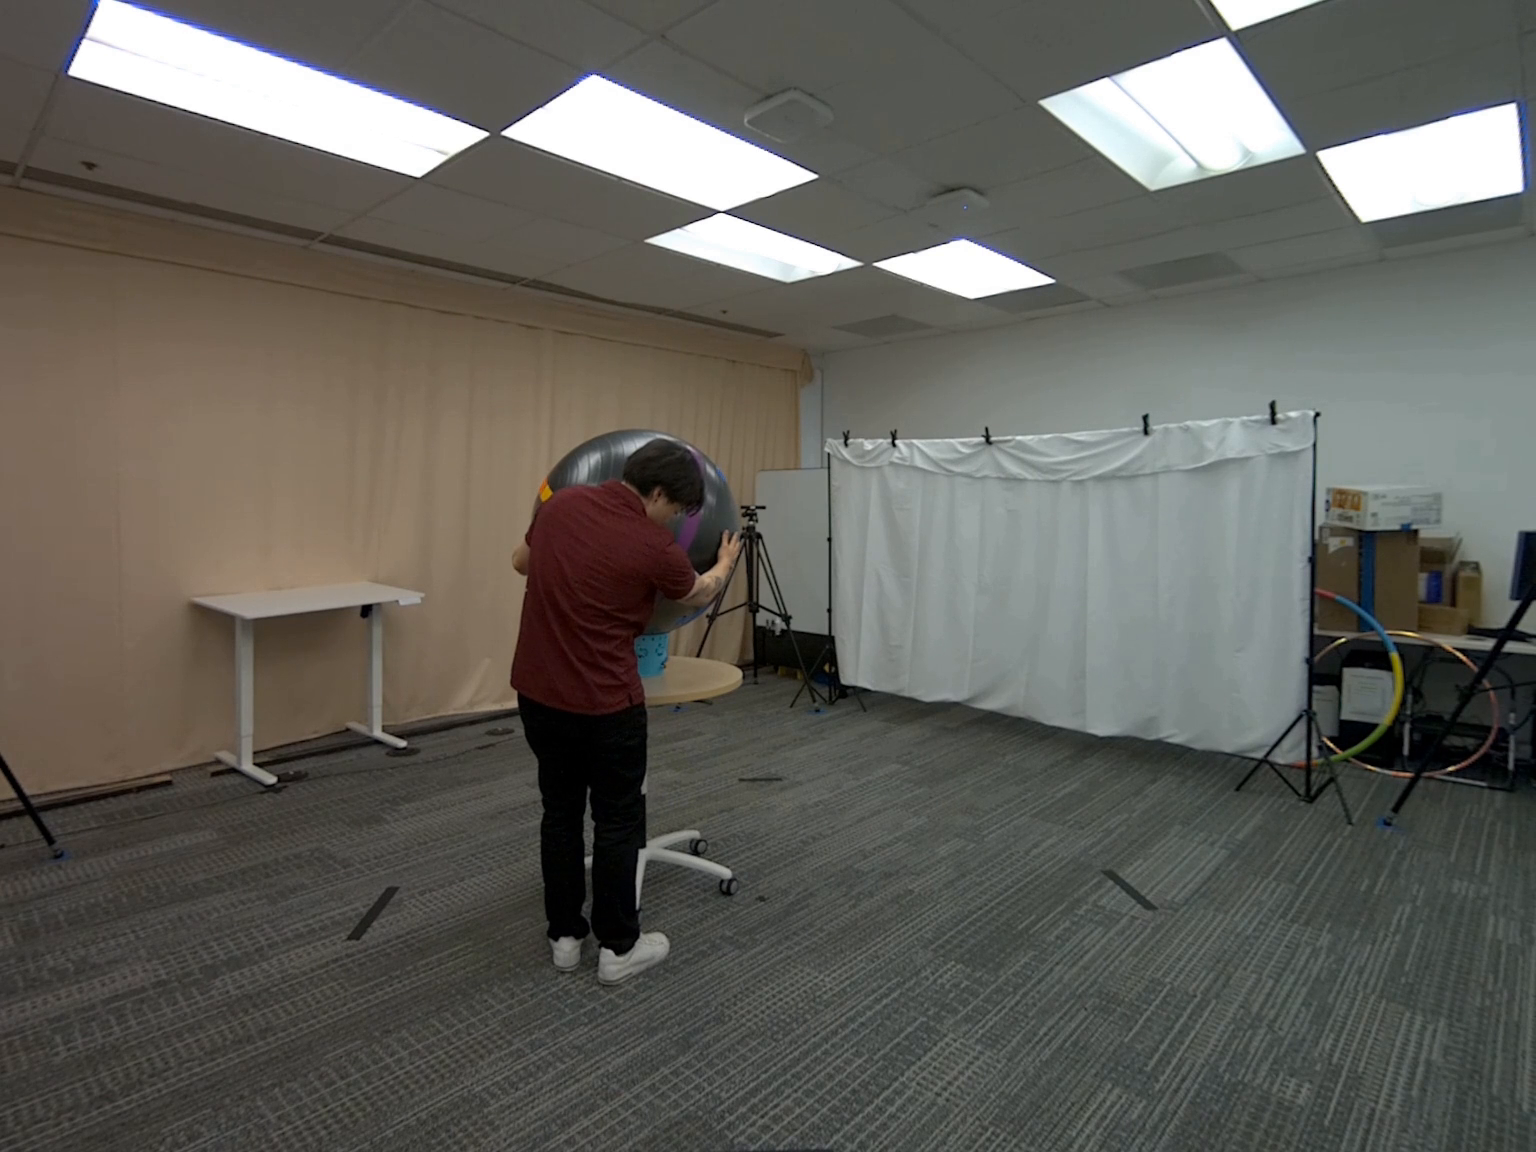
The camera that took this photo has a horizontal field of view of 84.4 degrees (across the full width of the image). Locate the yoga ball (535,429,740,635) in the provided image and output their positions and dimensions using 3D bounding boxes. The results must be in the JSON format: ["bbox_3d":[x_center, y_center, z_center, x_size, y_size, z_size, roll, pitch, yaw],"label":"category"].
[{"bbox_3d":[-0.483,-0.153,3.086,0.757,0.756,0.761,0,4,-2],"label":"yoga ball"}]
